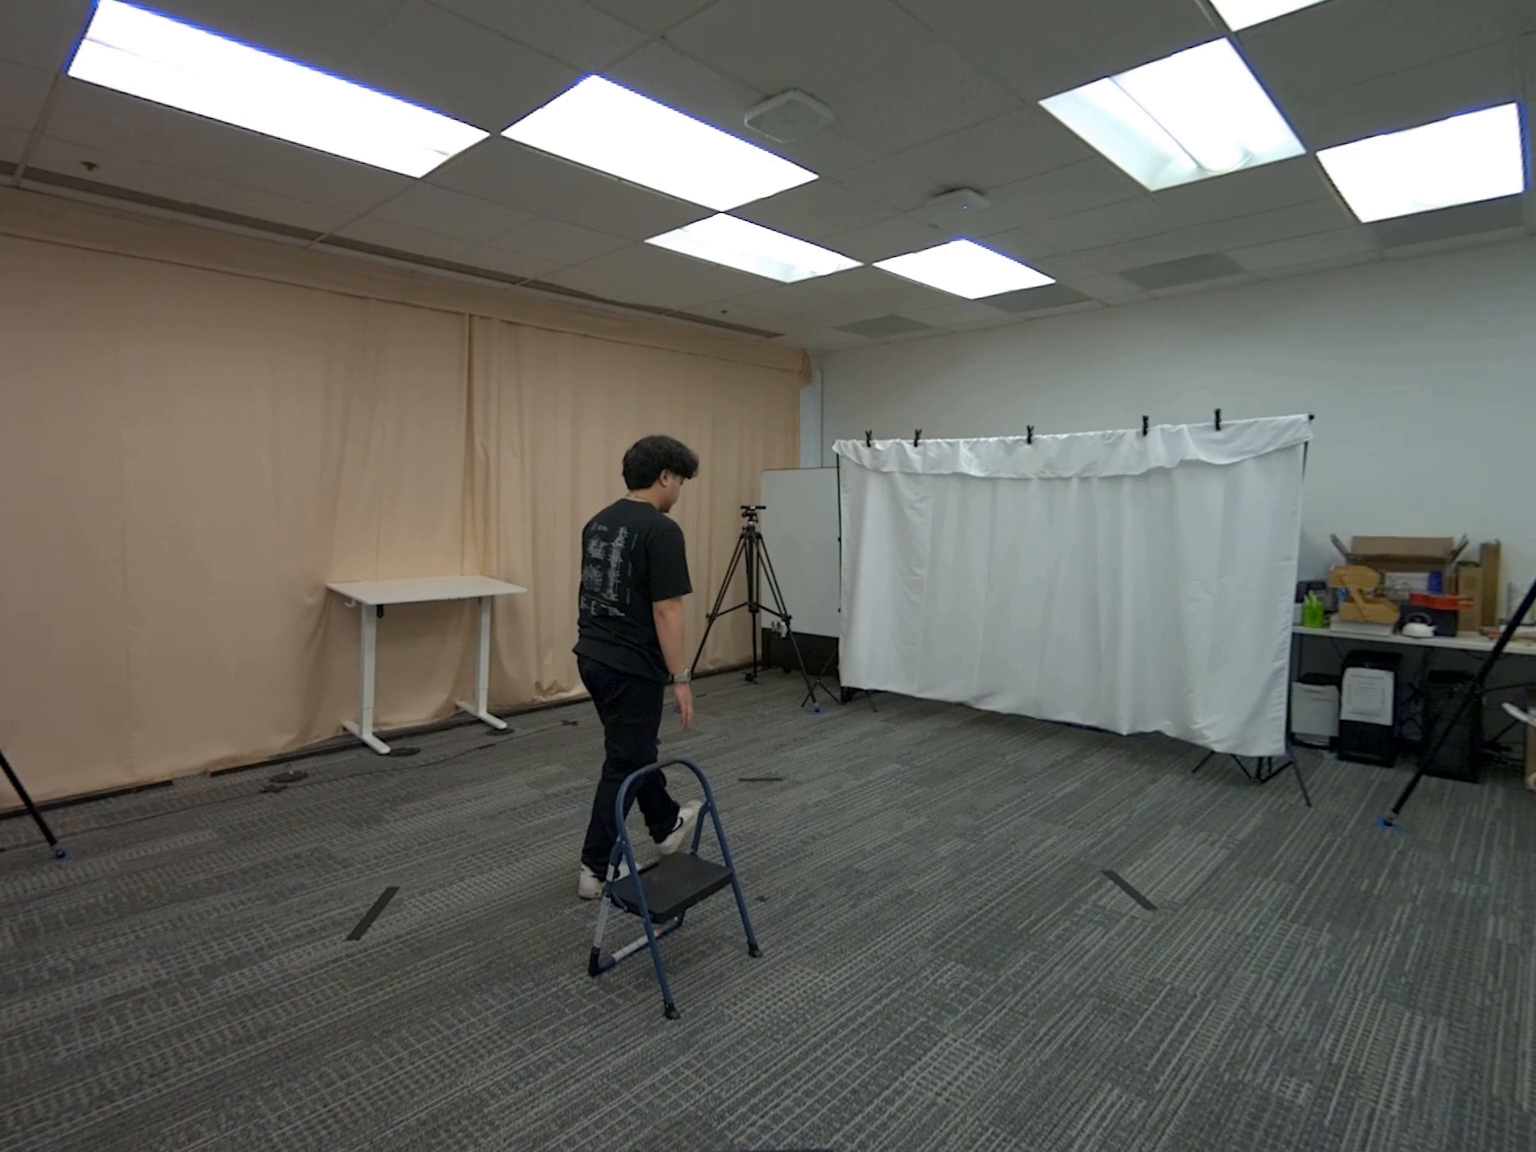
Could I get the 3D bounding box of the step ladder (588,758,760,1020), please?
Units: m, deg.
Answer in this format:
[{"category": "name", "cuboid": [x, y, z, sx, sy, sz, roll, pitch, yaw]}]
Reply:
[{"category": "step ladder", "cuboid": [-0.274, 0.880, 2.537, 0.360, 0.605, 0.418, 3, 5, 36]}]
